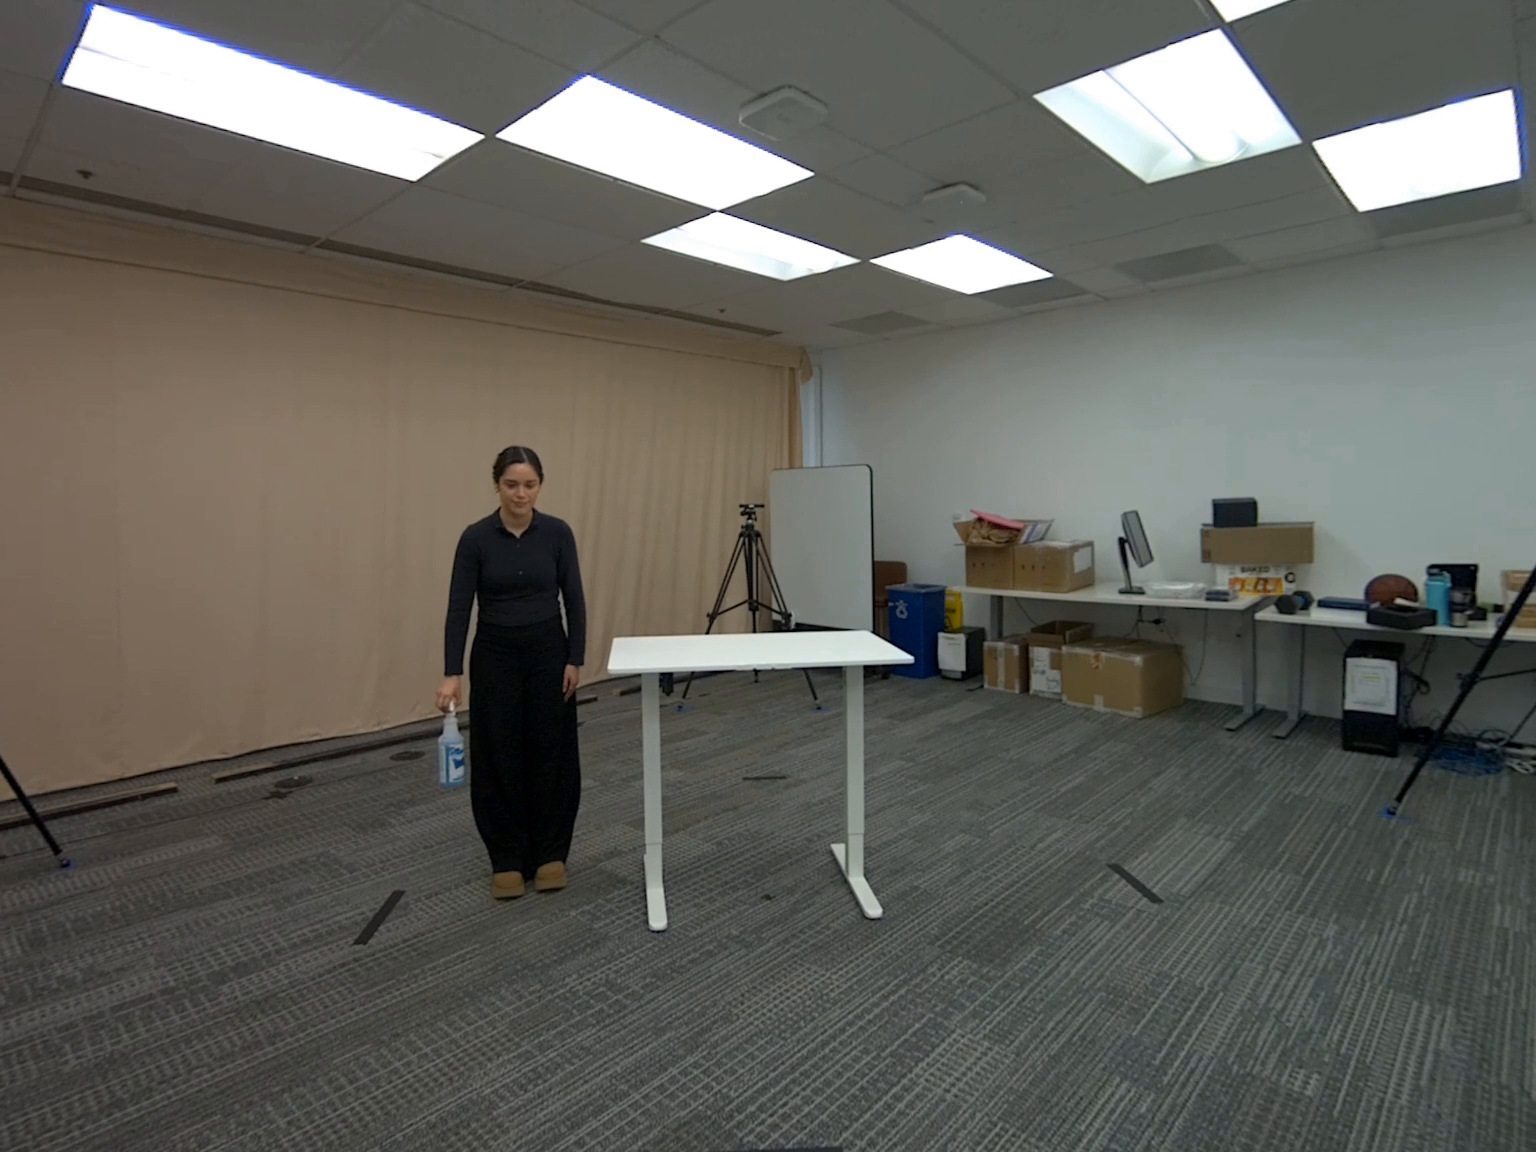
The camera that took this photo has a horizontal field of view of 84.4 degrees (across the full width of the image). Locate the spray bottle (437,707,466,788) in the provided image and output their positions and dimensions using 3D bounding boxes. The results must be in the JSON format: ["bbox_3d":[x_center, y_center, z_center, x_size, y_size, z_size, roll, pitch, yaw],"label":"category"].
[{"bbox_3d":[-1.101,0.582,2.951,0.087,0.297,0.090,-1,0,-2],"label":"spray bottle"}]
